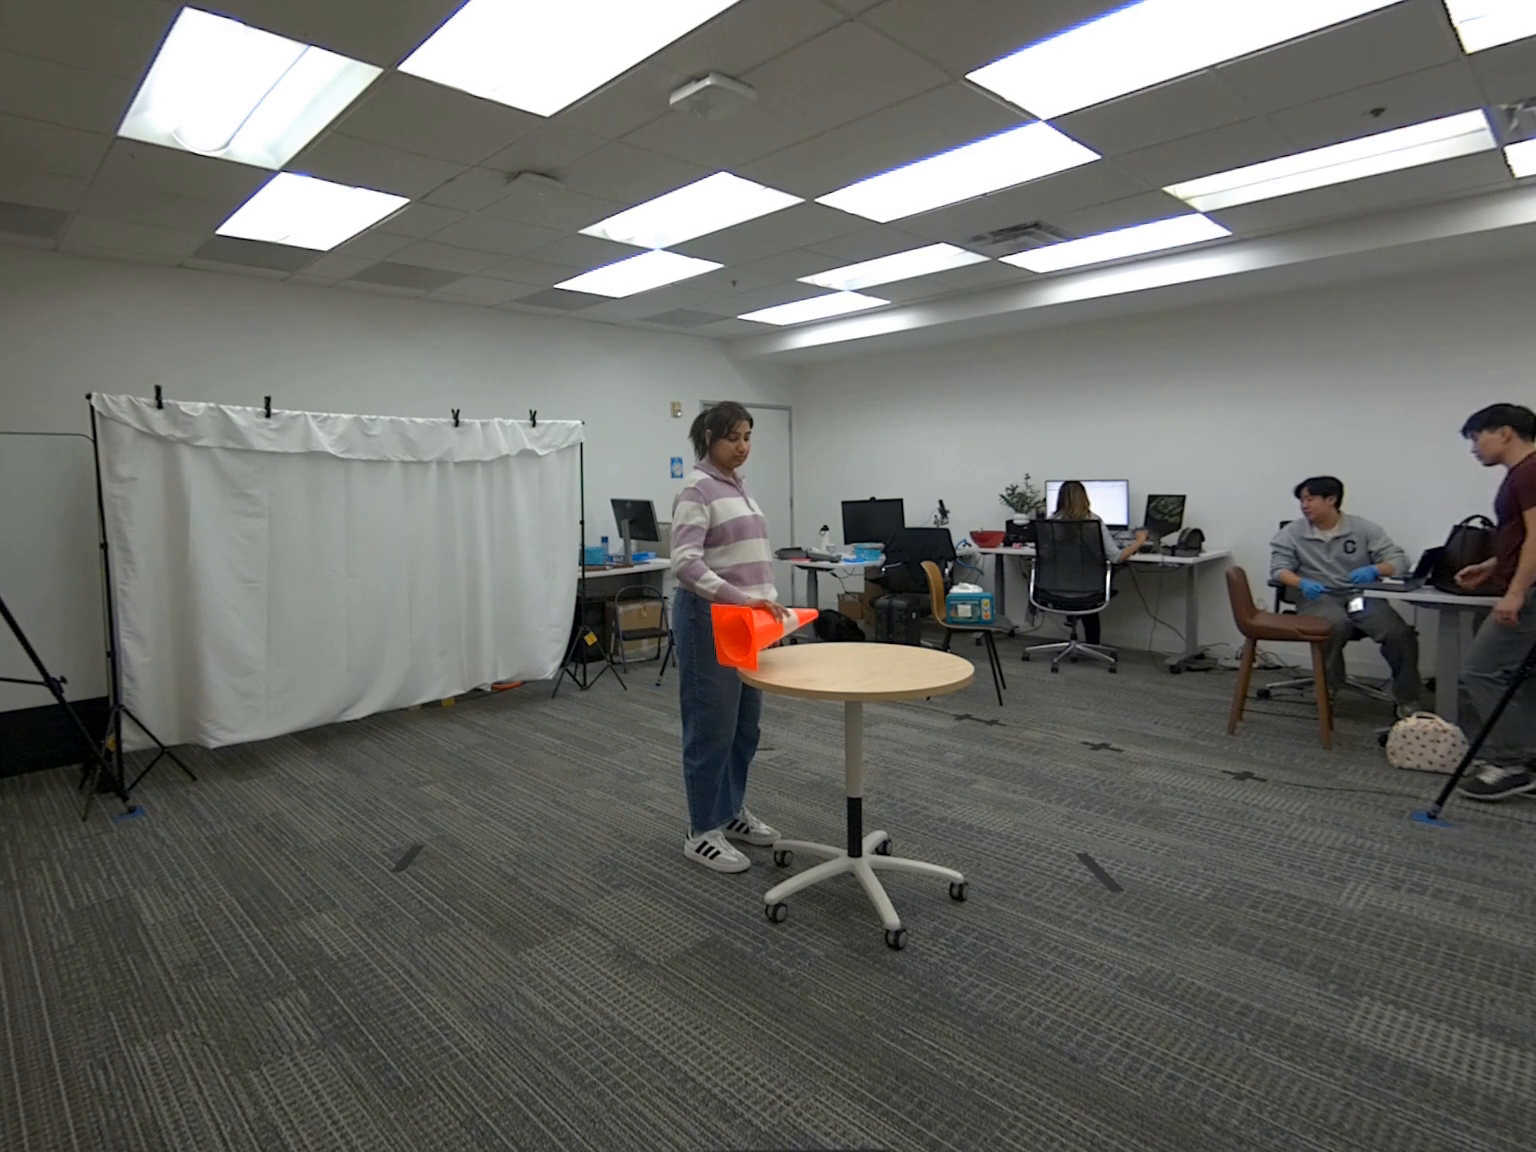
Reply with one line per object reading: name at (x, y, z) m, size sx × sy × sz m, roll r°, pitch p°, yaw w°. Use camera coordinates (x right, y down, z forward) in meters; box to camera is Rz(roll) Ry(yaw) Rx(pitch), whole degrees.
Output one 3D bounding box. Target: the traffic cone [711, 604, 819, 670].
traffic cone at (0.028, 0.156, 2.798) m, size 0.375 × 0.202 × 0.211 m, roll -13°, pitch 9°, yaw -41°
